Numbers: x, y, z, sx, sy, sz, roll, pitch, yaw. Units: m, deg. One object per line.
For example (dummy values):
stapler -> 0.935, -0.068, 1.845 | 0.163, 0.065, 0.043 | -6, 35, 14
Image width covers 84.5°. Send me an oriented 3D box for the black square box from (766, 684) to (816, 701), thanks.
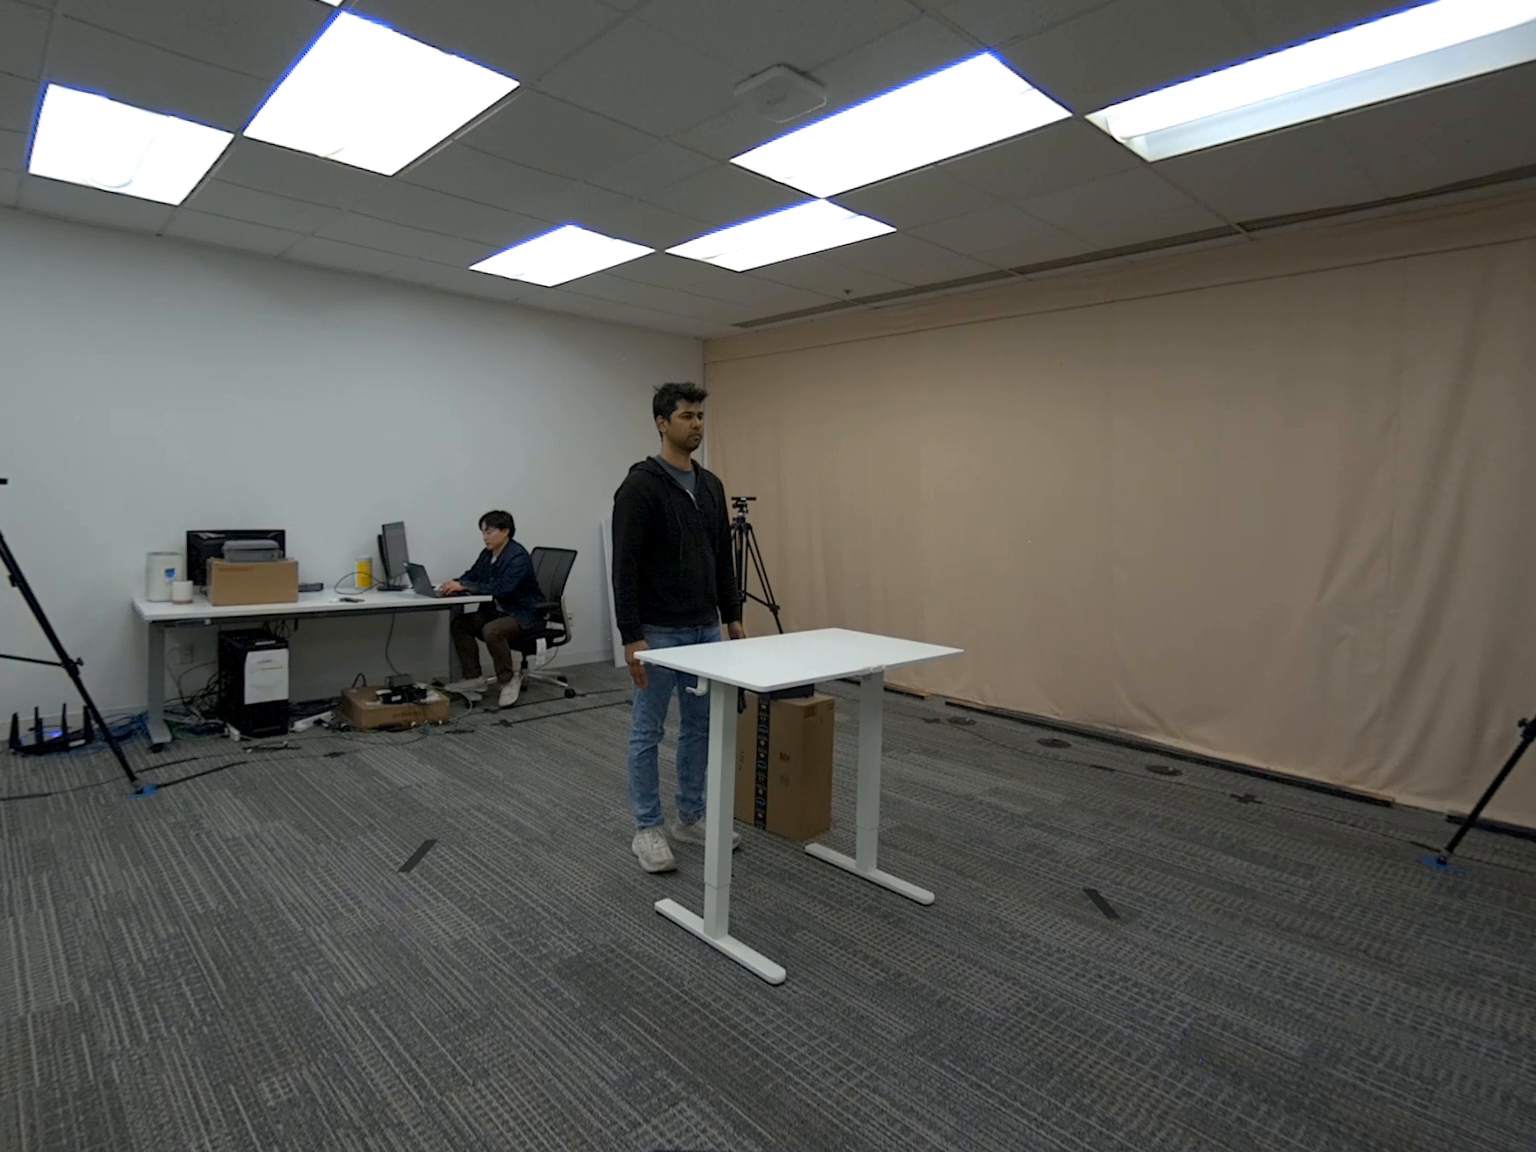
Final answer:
black square box -> 0.045, 0.425, 3.613 | 0.213, 0.155, 0.233 | -1, 5, -29
